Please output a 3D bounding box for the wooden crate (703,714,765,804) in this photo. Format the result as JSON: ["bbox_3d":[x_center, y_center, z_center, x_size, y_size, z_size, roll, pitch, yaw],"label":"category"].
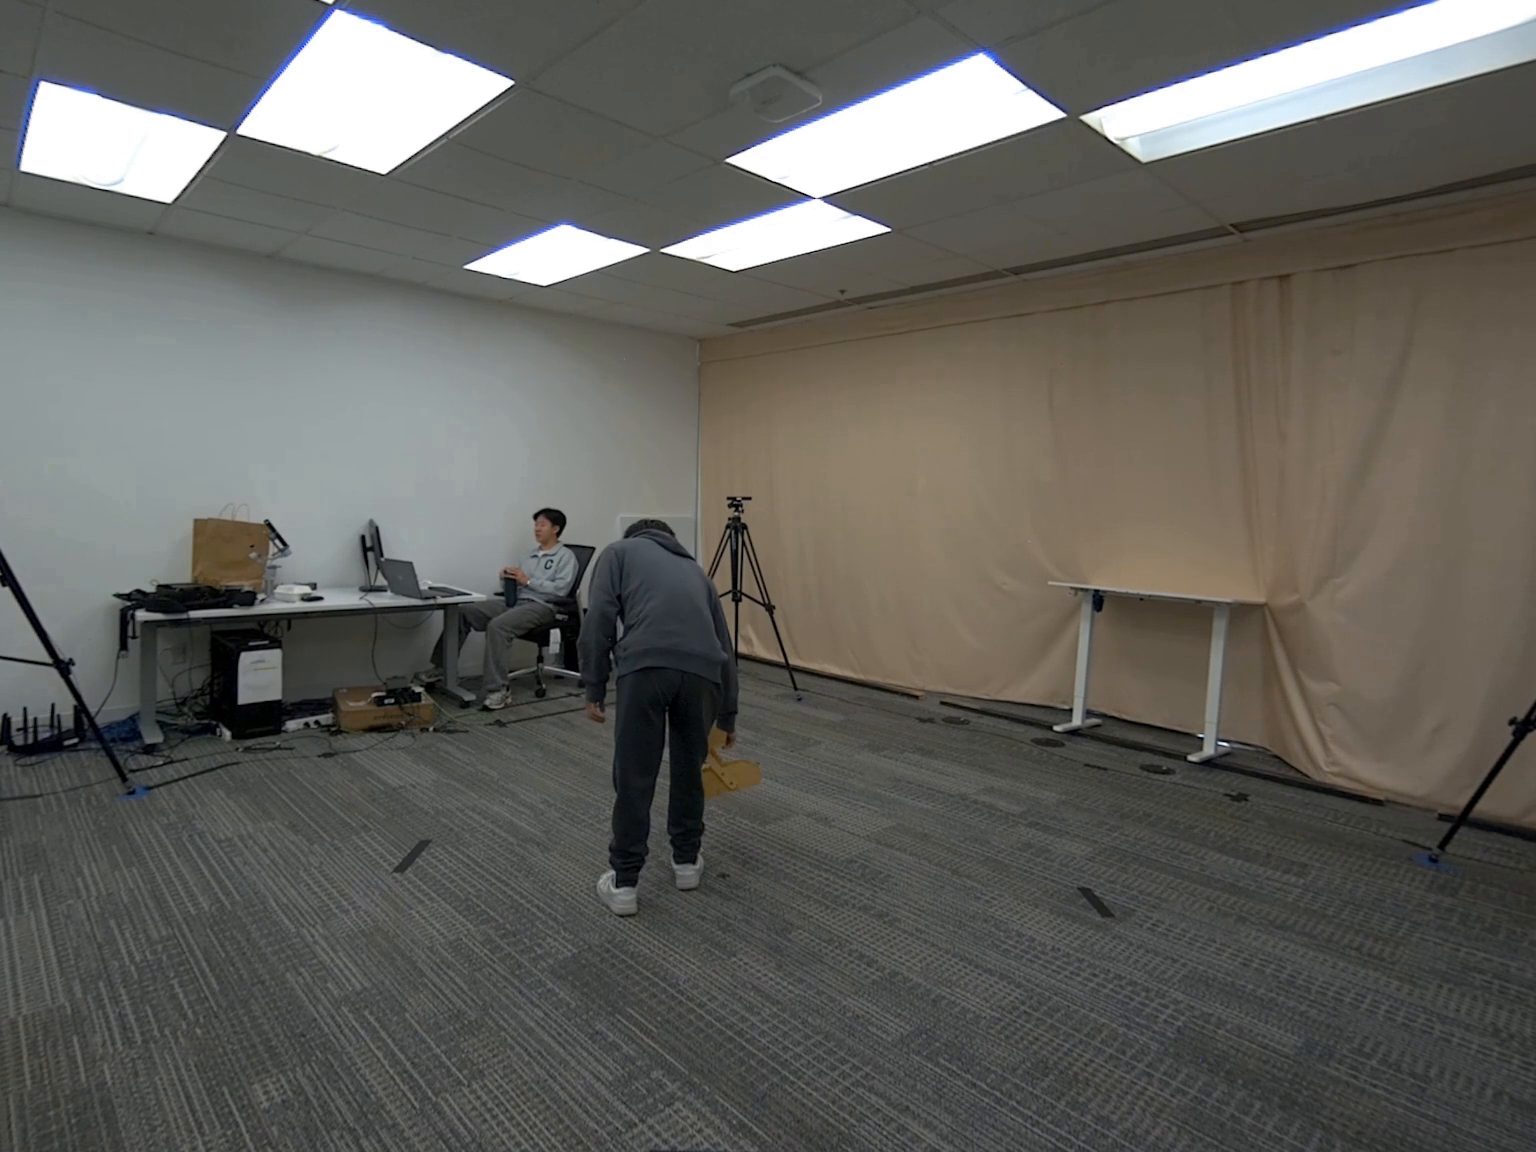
[{"bbox_3d":[-0.202,0.721,3.353,0.301,0.276,0.322,-14,-9,-3],"label":"wooden crate"}]
